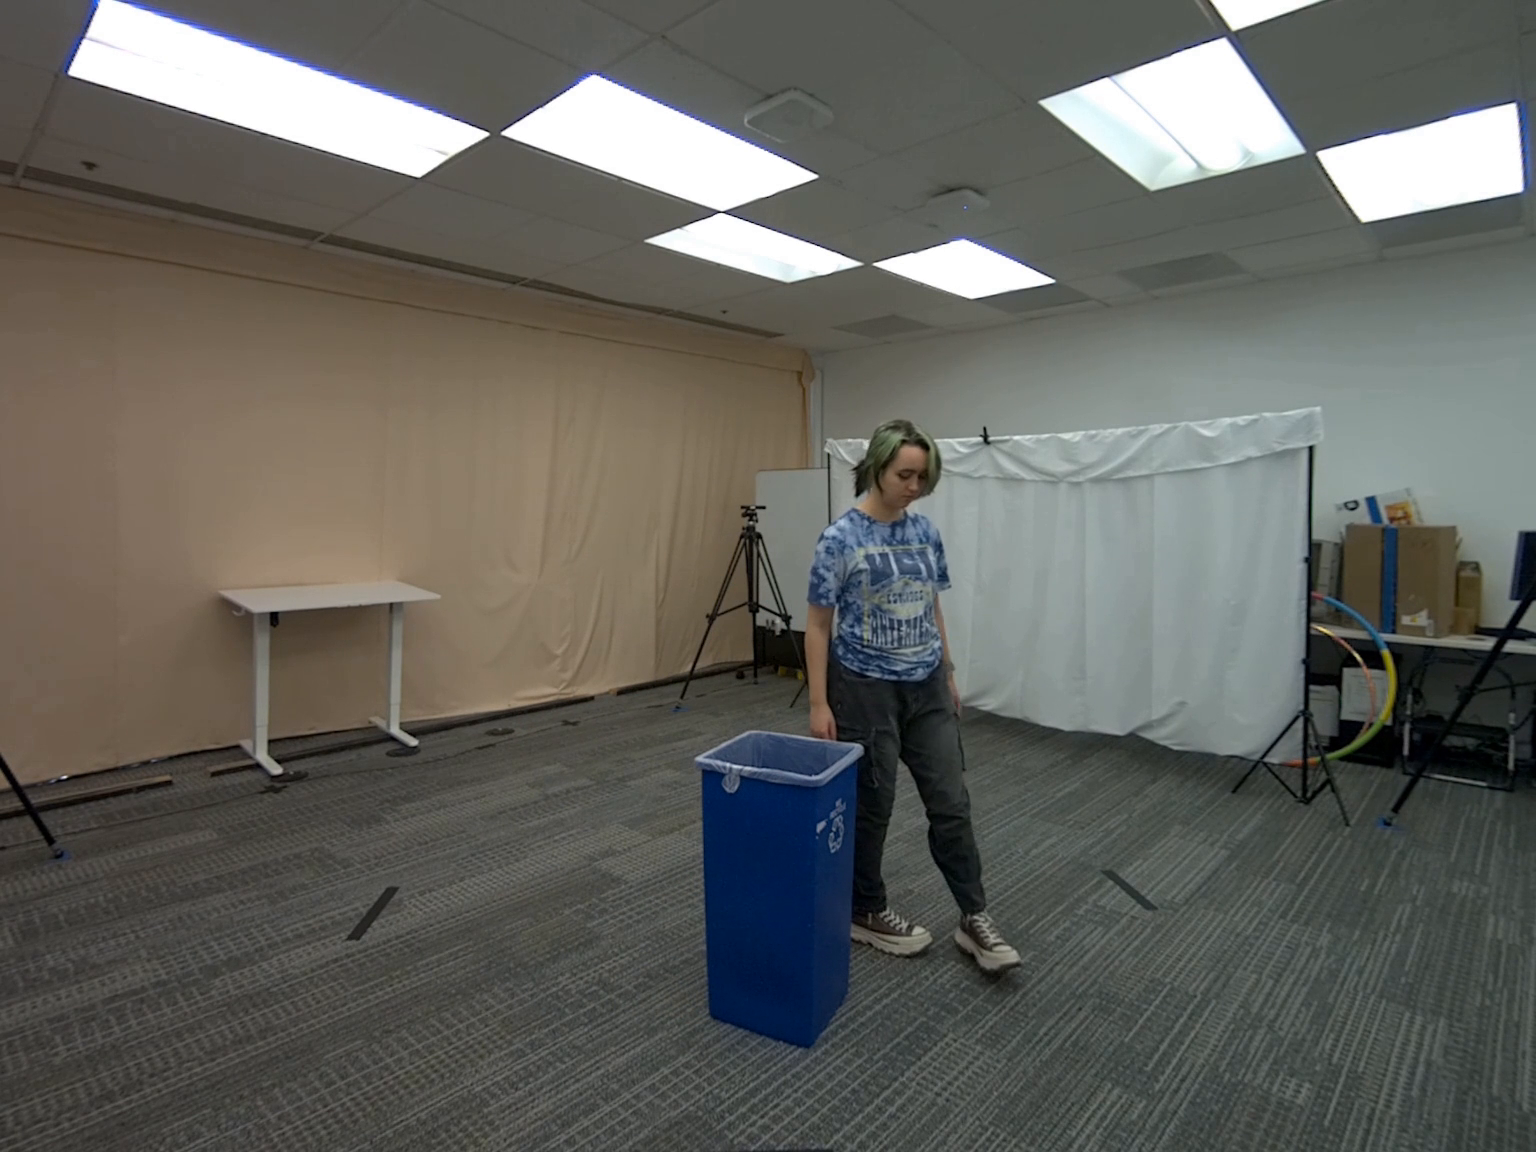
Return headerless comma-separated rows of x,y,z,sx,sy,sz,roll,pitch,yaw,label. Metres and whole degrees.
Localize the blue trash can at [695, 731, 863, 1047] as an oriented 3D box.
0.036,0.842,2.340,0.388,0.712,0.365,2,4,26,blue trash can
